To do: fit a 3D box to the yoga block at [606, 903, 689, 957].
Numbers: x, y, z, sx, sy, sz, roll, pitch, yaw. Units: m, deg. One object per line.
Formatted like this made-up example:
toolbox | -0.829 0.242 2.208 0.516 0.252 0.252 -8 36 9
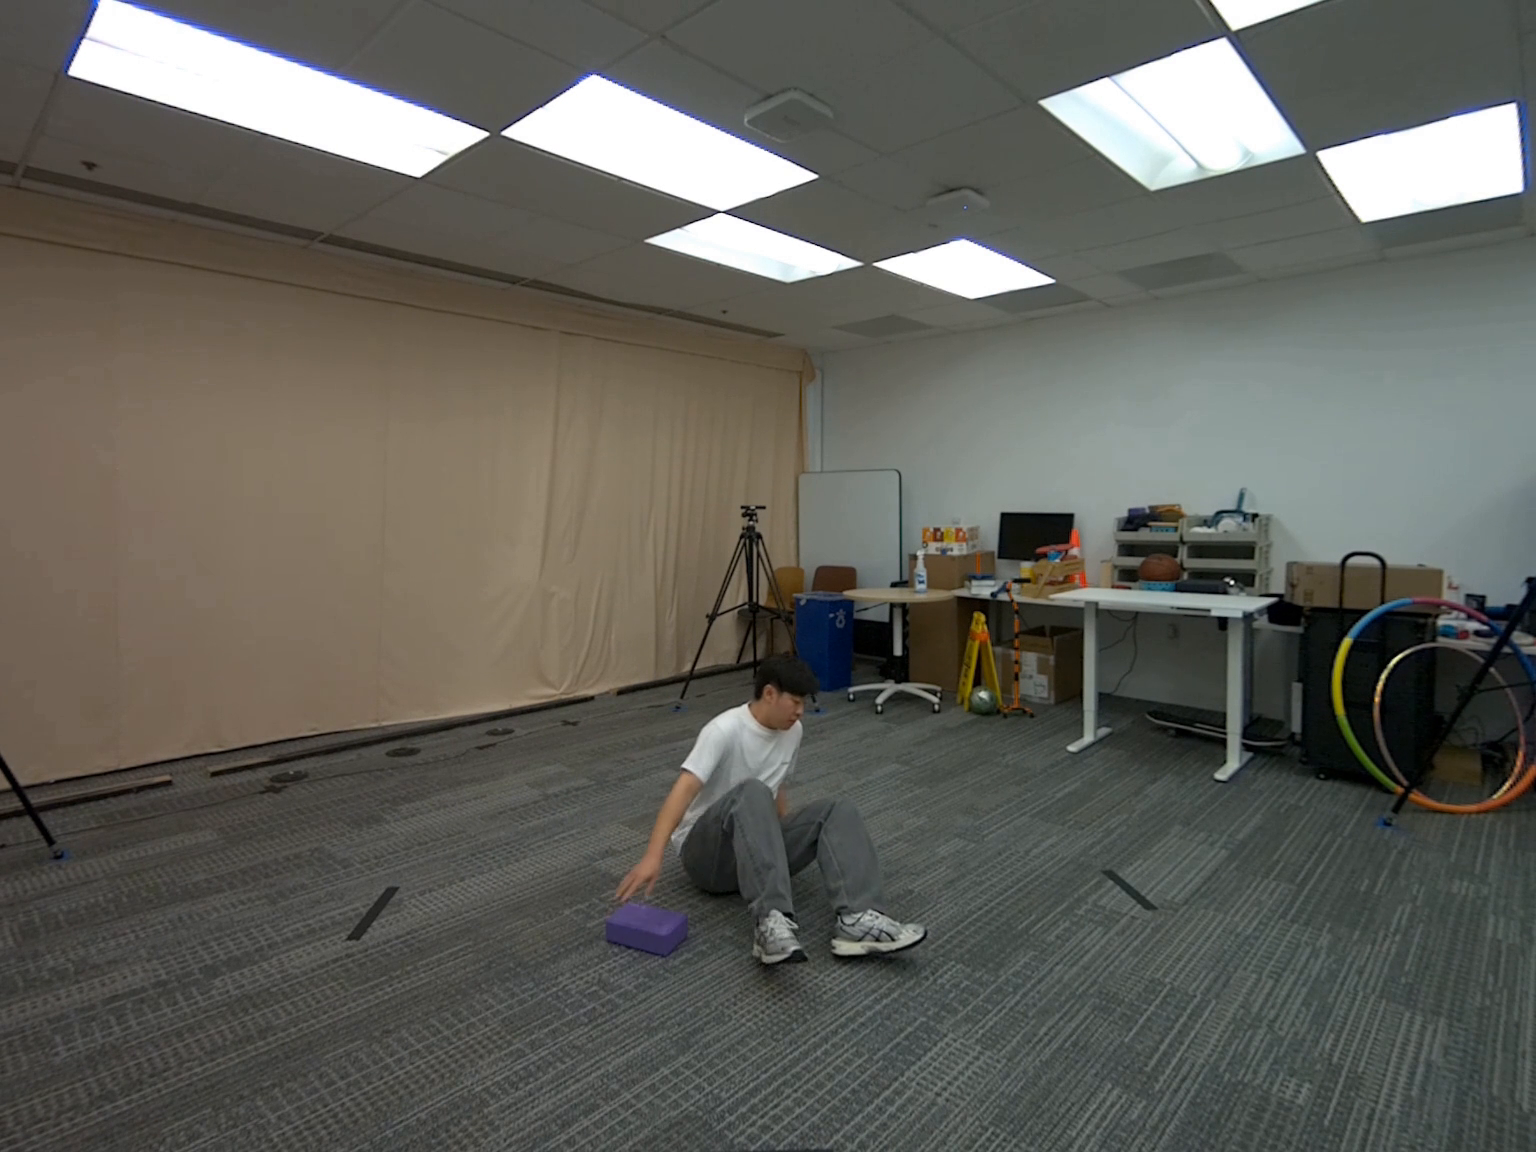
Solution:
yoga block | -0.385 1.128 2.708 0.235 0.076 0.145 1 4 25
